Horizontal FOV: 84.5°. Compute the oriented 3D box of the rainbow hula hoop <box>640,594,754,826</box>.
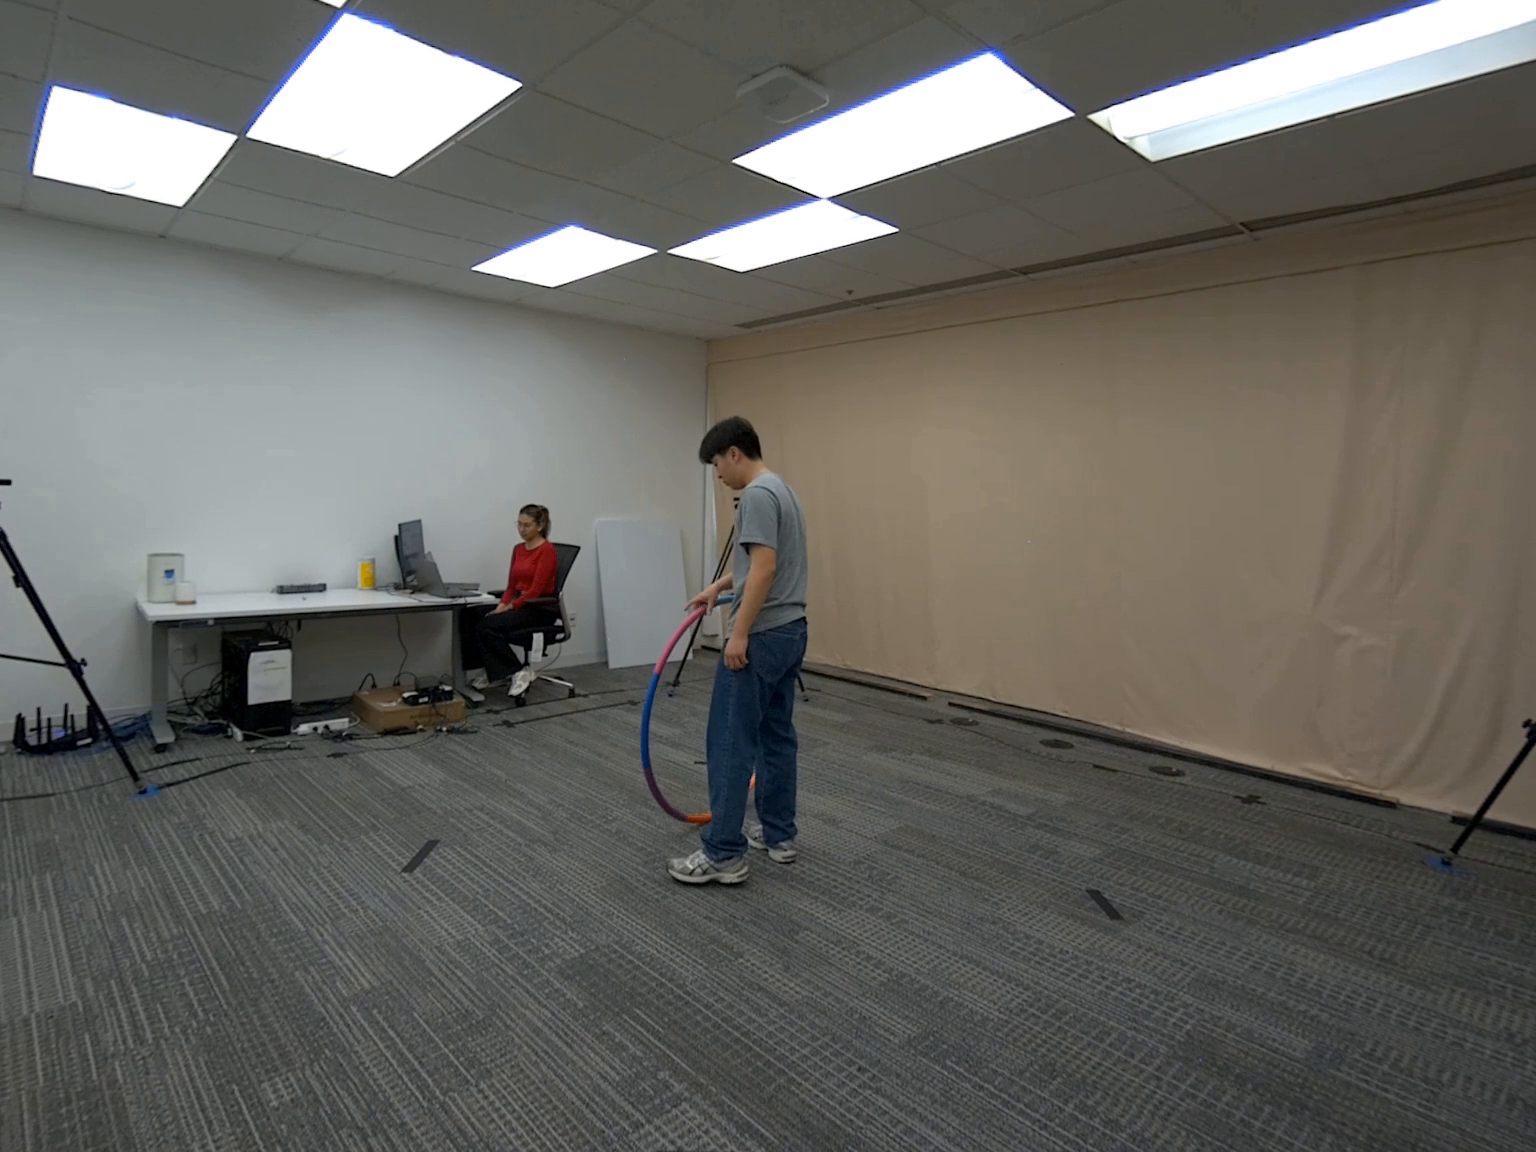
[{"bbox_3d":[-0.211,0.569,3.634,0.036,0.975,0.958,7,7,36],"label":"rainbow hula hoop"}]
